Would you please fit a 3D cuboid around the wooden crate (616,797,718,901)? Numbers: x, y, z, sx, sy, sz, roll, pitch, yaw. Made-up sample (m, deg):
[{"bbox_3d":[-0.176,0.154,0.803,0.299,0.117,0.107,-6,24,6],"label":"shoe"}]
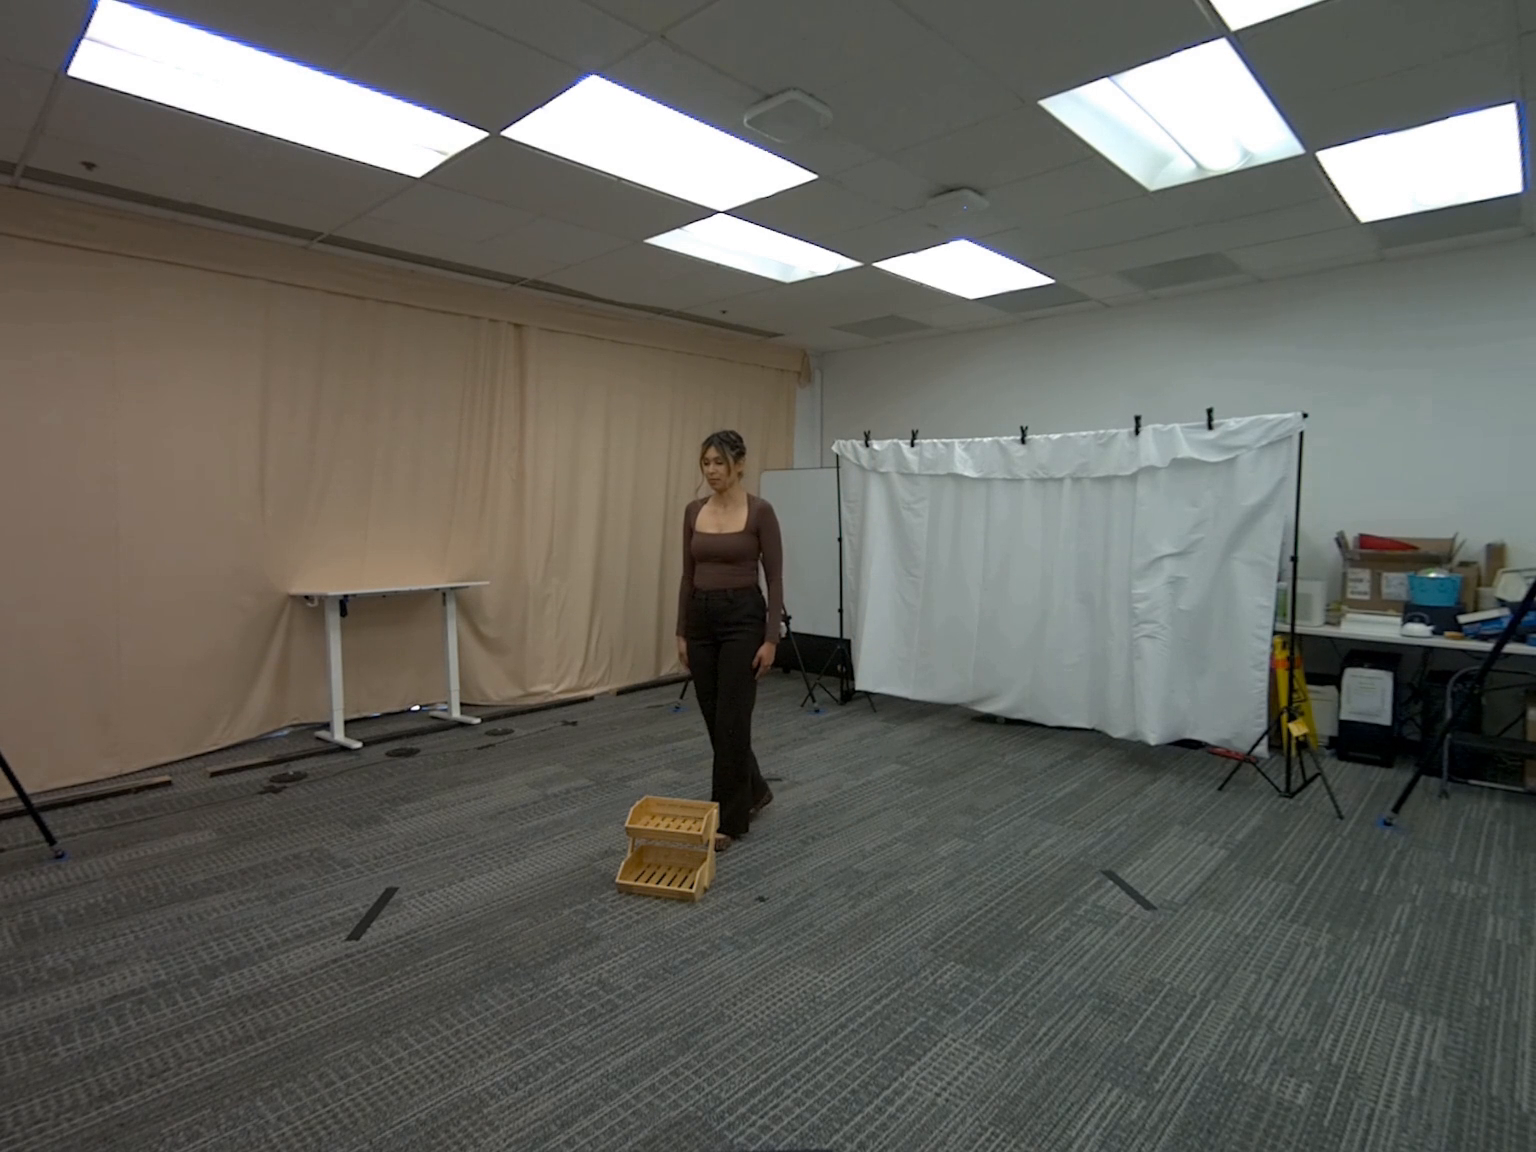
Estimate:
[{"bbox_3d":[-0.370,1.003,3.116,0.330,0.273,0.298,1,3,15],"label":"wooden crate"}]
